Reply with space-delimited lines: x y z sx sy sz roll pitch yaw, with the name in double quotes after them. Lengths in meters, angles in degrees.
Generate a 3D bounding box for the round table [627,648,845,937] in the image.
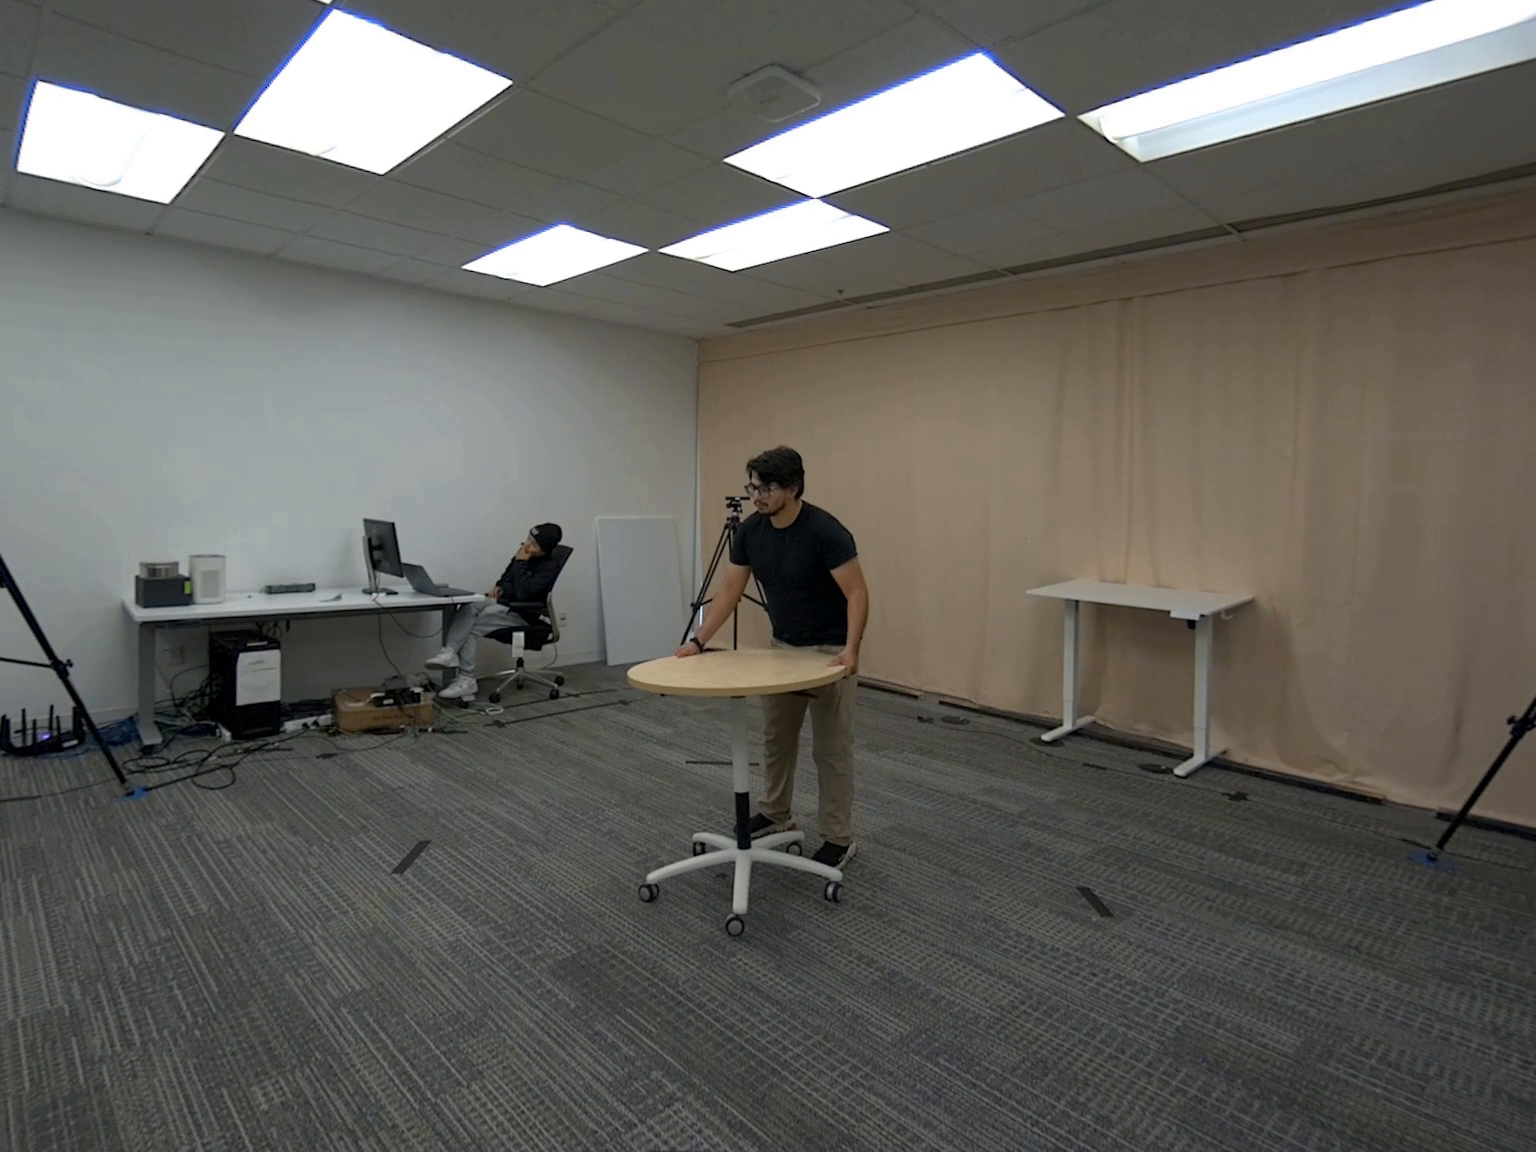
-0.090 0.707 2.951 0.785 0.785 0.787 -2 3 -1 "round table"
